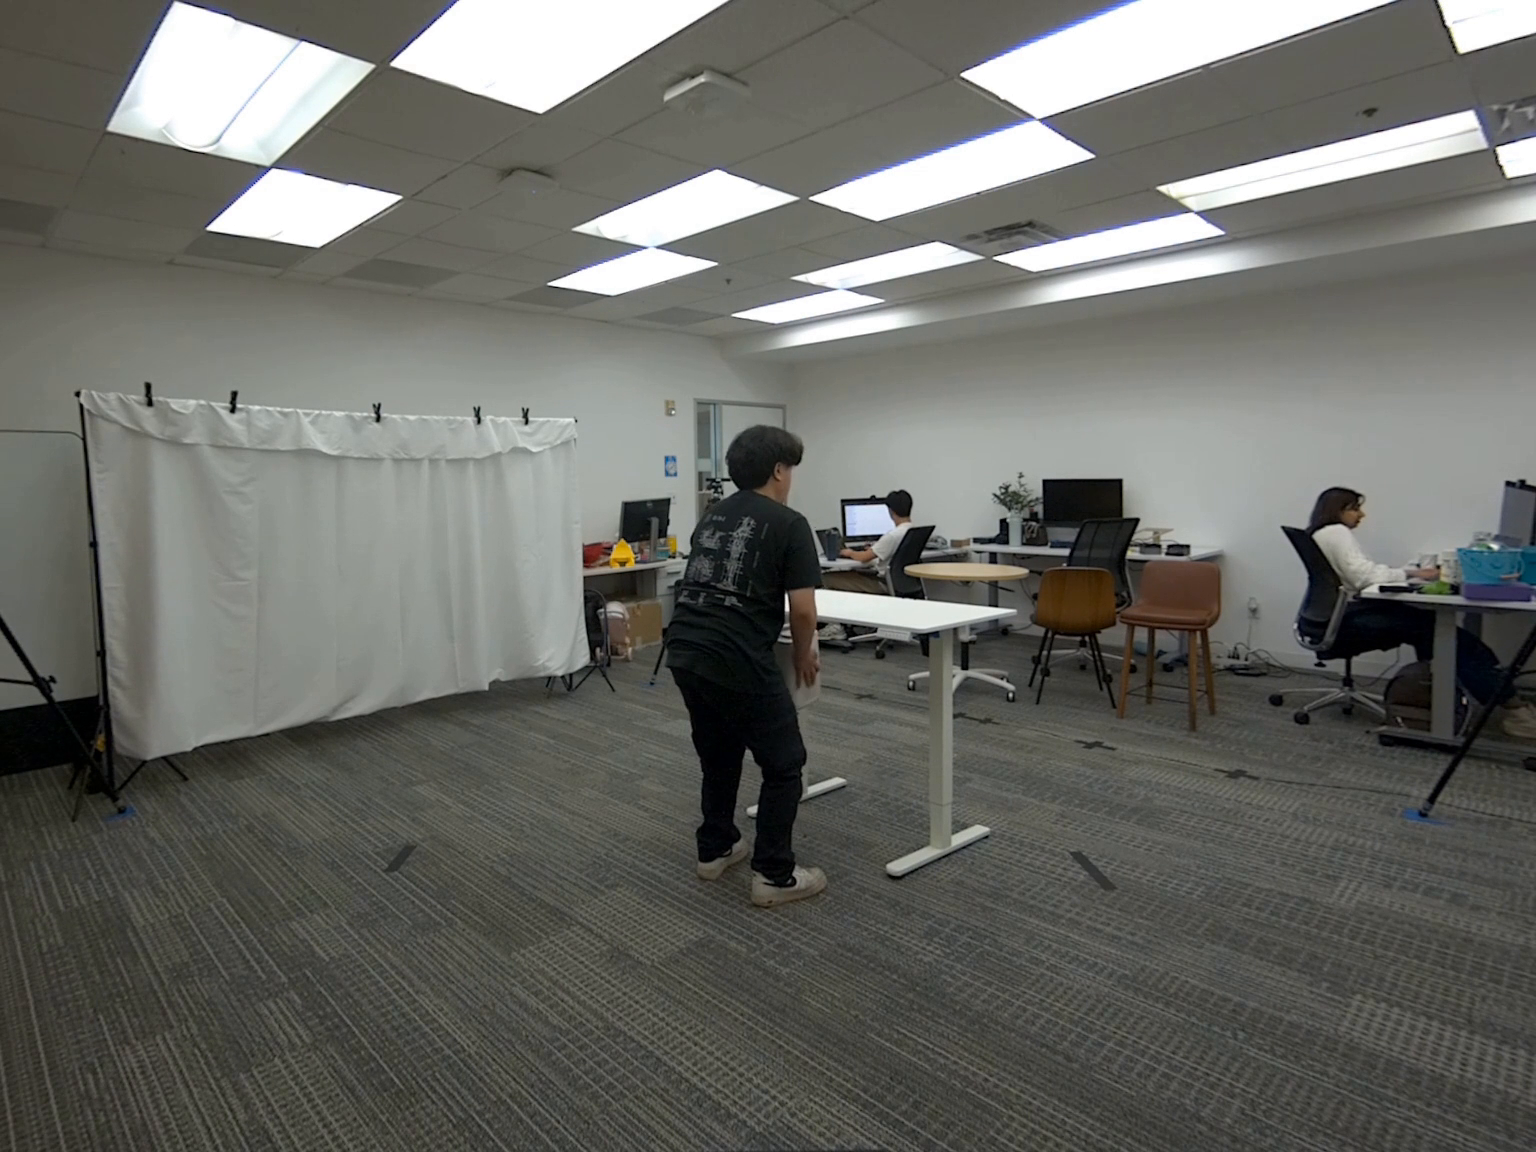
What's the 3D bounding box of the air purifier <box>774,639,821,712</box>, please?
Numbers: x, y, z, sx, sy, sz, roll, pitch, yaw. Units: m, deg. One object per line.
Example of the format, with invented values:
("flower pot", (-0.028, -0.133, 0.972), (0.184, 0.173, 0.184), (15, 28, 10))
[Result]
("air purifier", (0.078, 0.330, 3.055), (0.168, 0.261, 0.177), (-15, 19, -36))
